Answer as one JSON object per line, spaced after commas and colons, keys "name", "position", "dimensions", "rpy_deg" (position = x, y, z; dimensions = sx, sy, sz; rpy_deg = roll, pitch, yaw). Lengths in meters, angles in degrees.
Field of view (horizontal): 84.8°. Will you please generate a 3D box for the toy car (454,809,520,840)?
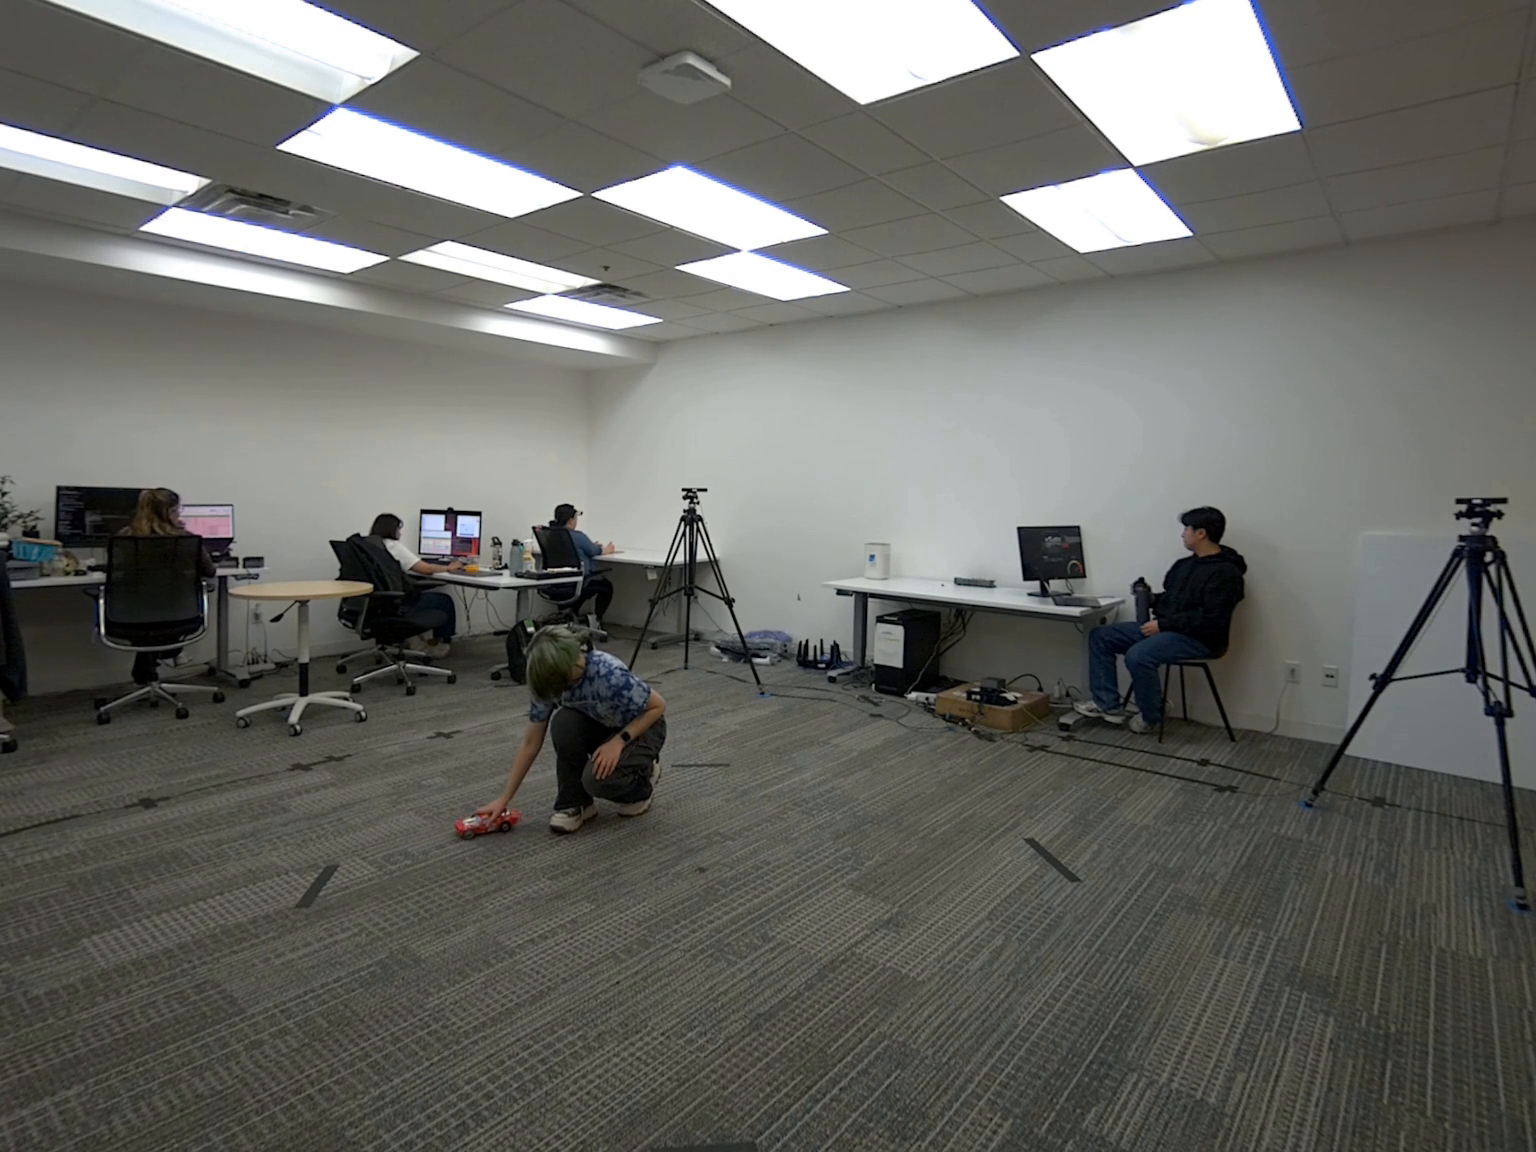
{"name": "toy car", "position": [-1.146, 0.998, 3.436], "dimensions": [0.249, 0.082, 0.134], "rpy_deg": [-15, 11, -29]}
